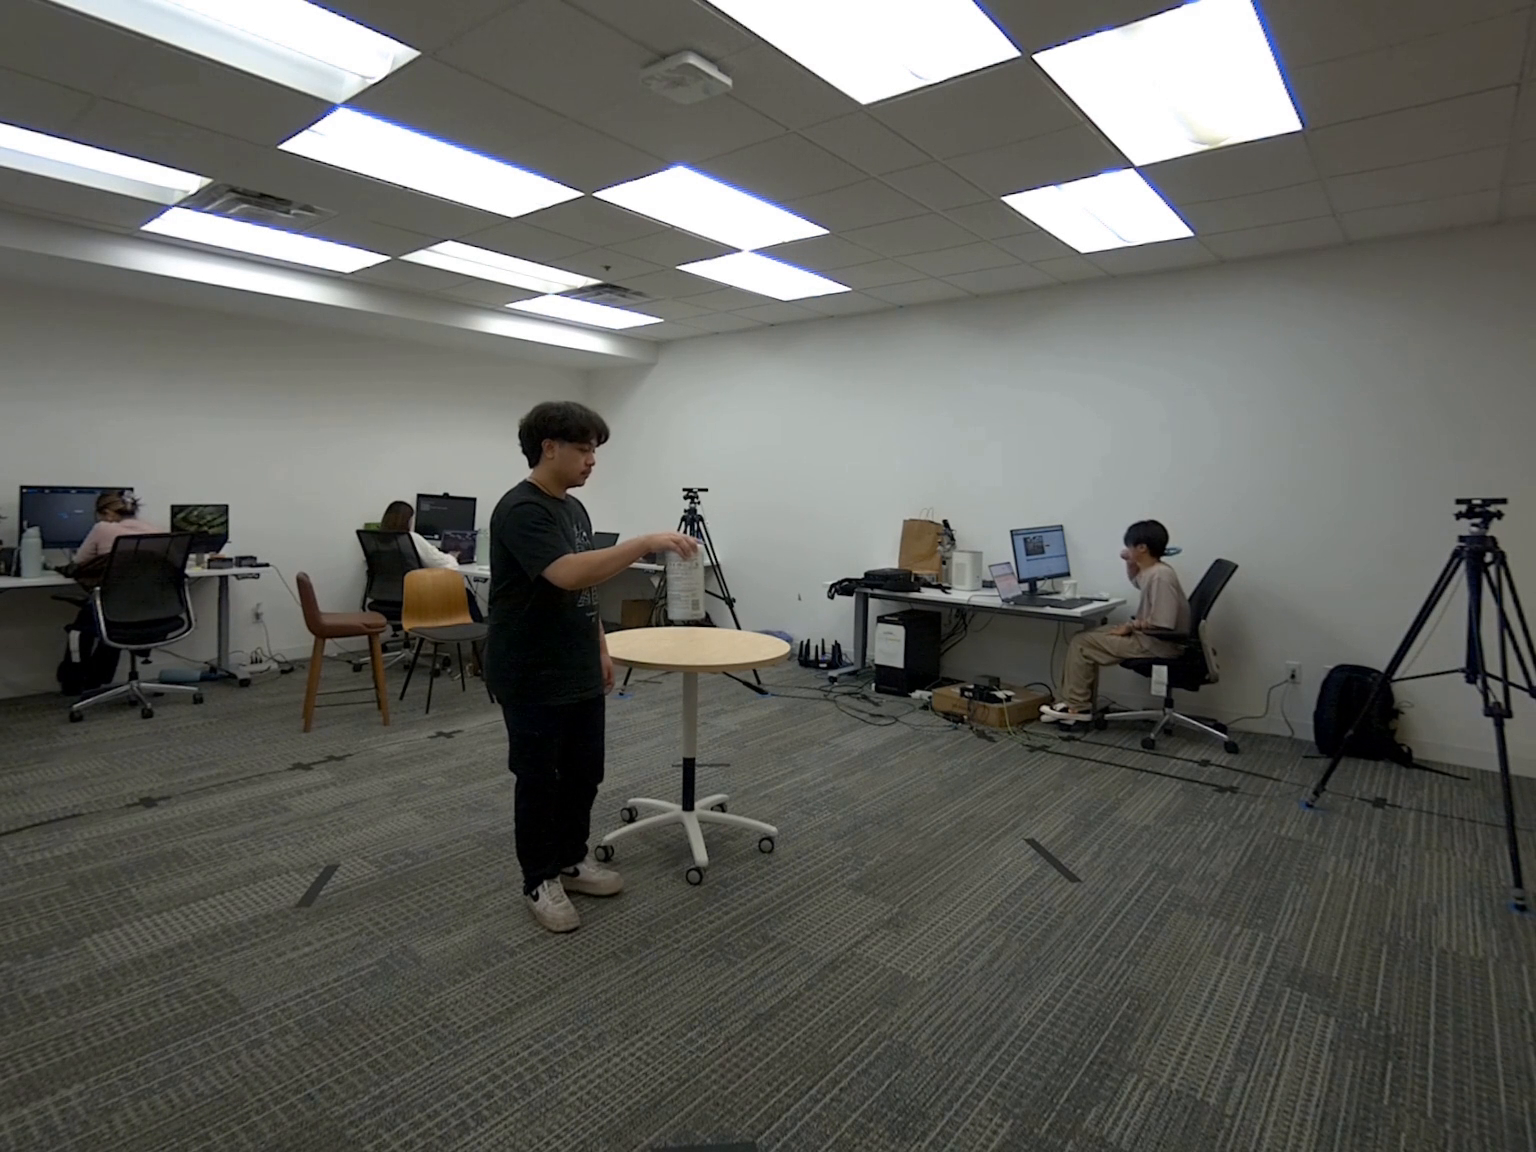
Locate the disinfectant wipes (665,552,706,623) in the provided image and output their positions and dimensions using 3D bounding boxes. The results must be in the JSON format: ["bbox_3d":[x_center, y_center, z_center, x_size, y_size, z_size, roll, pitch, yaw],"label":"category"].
[{"bbox_3d":[-0.243,0.017,2.462,0.118,0.217,0.118,0,1,-2],"label":"disinfectant wipes"}]
